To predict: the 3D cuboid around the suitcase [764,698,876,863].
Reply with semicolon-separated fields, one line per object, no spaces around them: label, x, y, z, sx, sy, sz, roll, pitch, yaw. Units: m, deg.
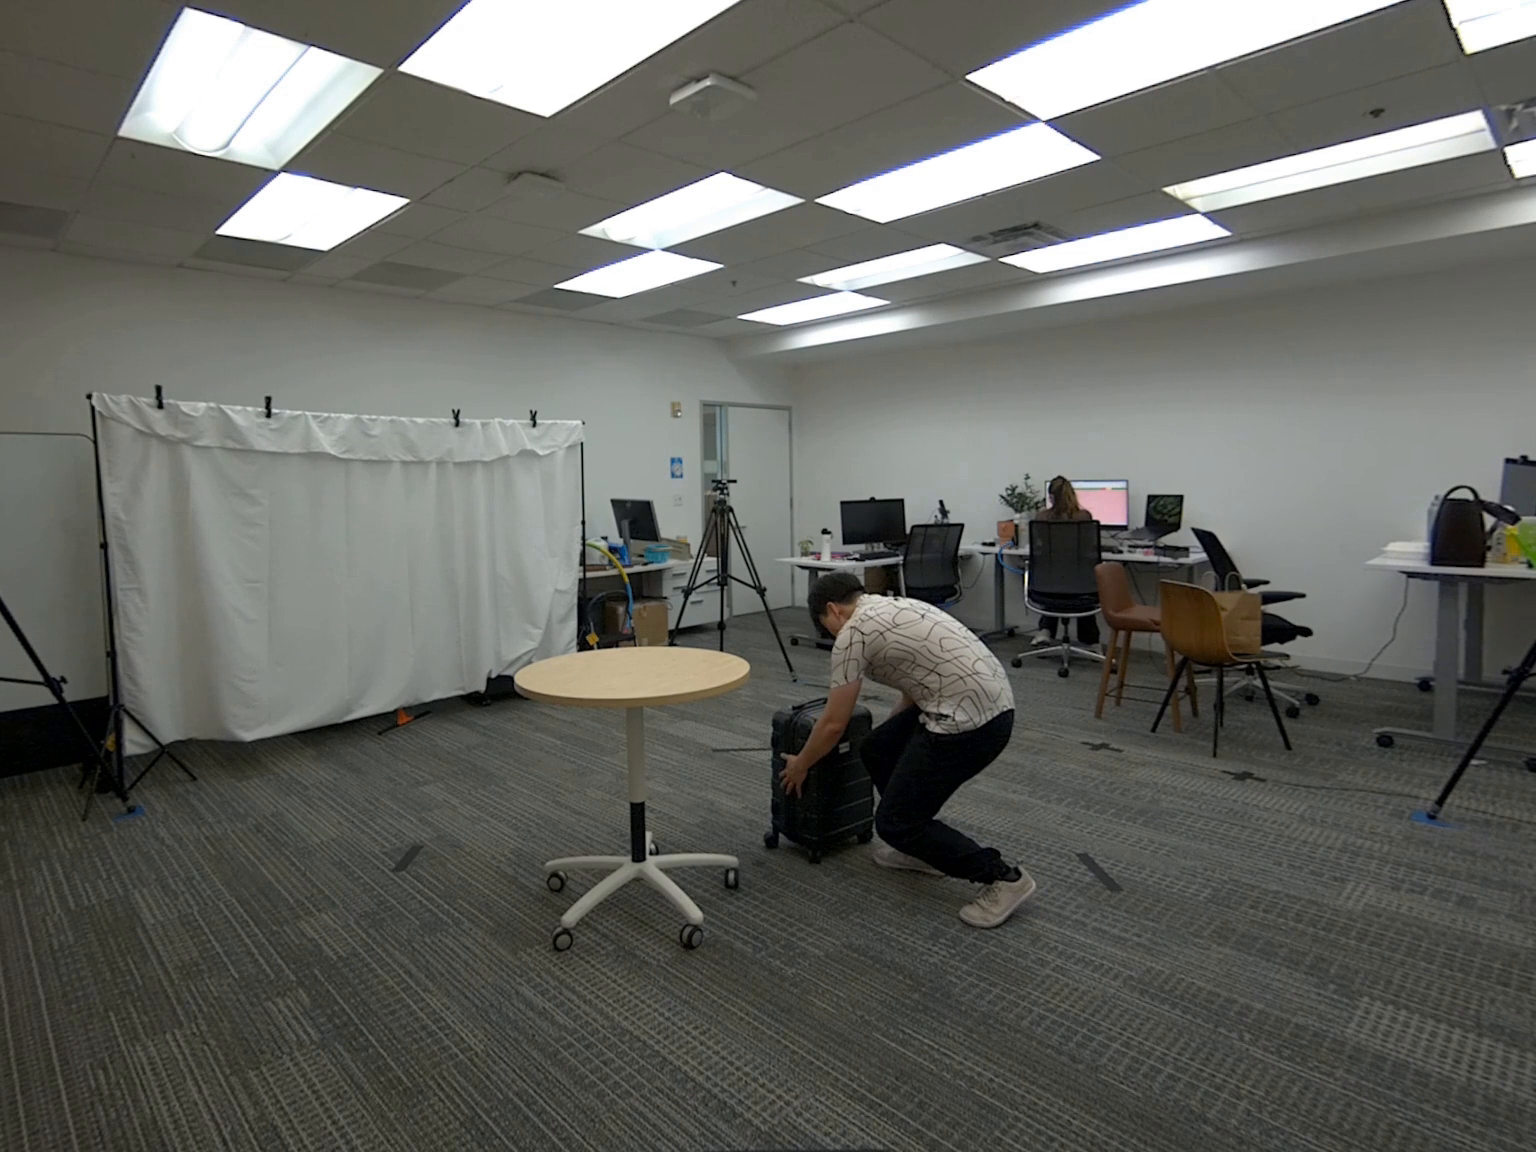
suitcase;0.208;0.752;3.257;0.365;0.547;0.256;-4;6;-40
